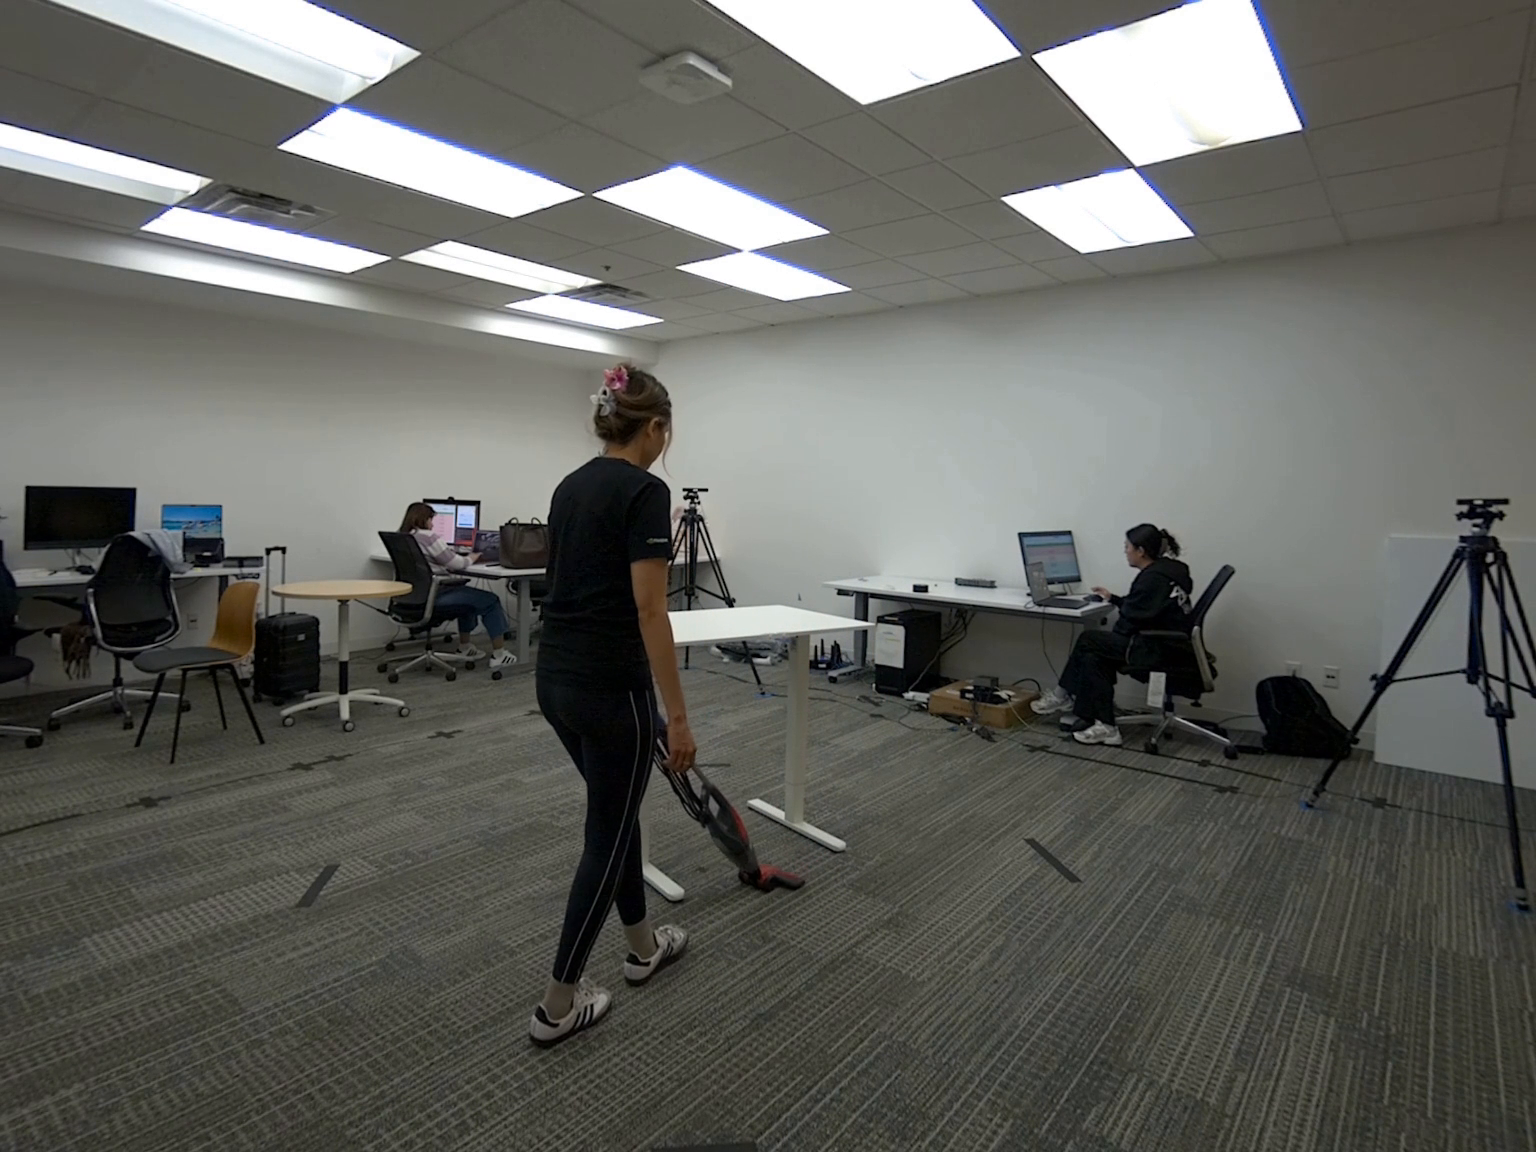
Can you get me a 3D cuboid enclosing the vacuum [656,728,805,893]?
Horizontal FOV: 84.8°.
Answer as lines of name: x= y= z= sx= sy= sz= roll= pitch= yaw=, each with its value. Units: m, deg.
vacuum: x=-0.215 y=0.718 z=2.744 sx=0.261 sy=1.009 sz=0.145 roll=2 pitch=47 yaw=38
